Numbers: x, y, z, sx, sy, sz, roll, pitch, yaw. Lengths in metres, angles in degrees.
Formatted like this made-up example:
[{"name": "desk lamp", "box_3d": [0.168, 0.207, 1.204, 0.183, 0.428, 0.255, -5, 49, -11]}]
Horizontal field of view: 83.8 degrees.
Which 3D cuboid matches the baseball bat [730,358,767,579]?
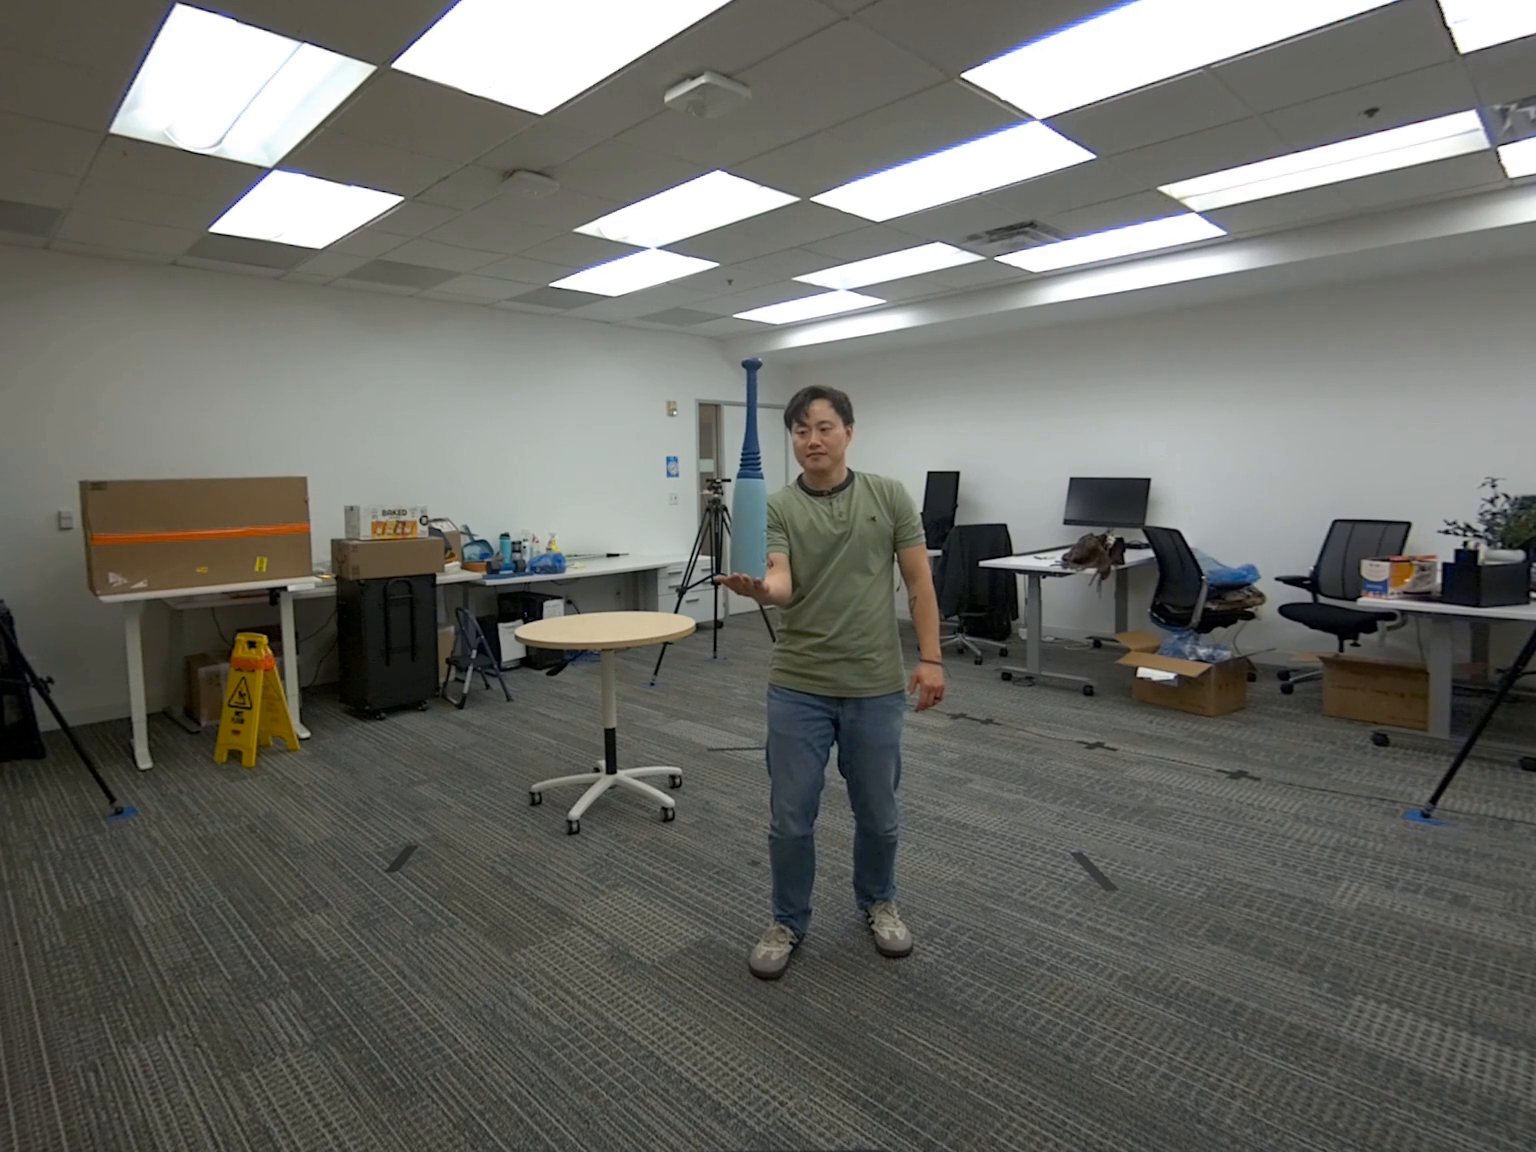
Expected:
[{"name": "baseball bat", "box_3d": [-0.051, -0.247, 2.066, 0.089, 0.543, 0.089, 1, -1, -2]}]
